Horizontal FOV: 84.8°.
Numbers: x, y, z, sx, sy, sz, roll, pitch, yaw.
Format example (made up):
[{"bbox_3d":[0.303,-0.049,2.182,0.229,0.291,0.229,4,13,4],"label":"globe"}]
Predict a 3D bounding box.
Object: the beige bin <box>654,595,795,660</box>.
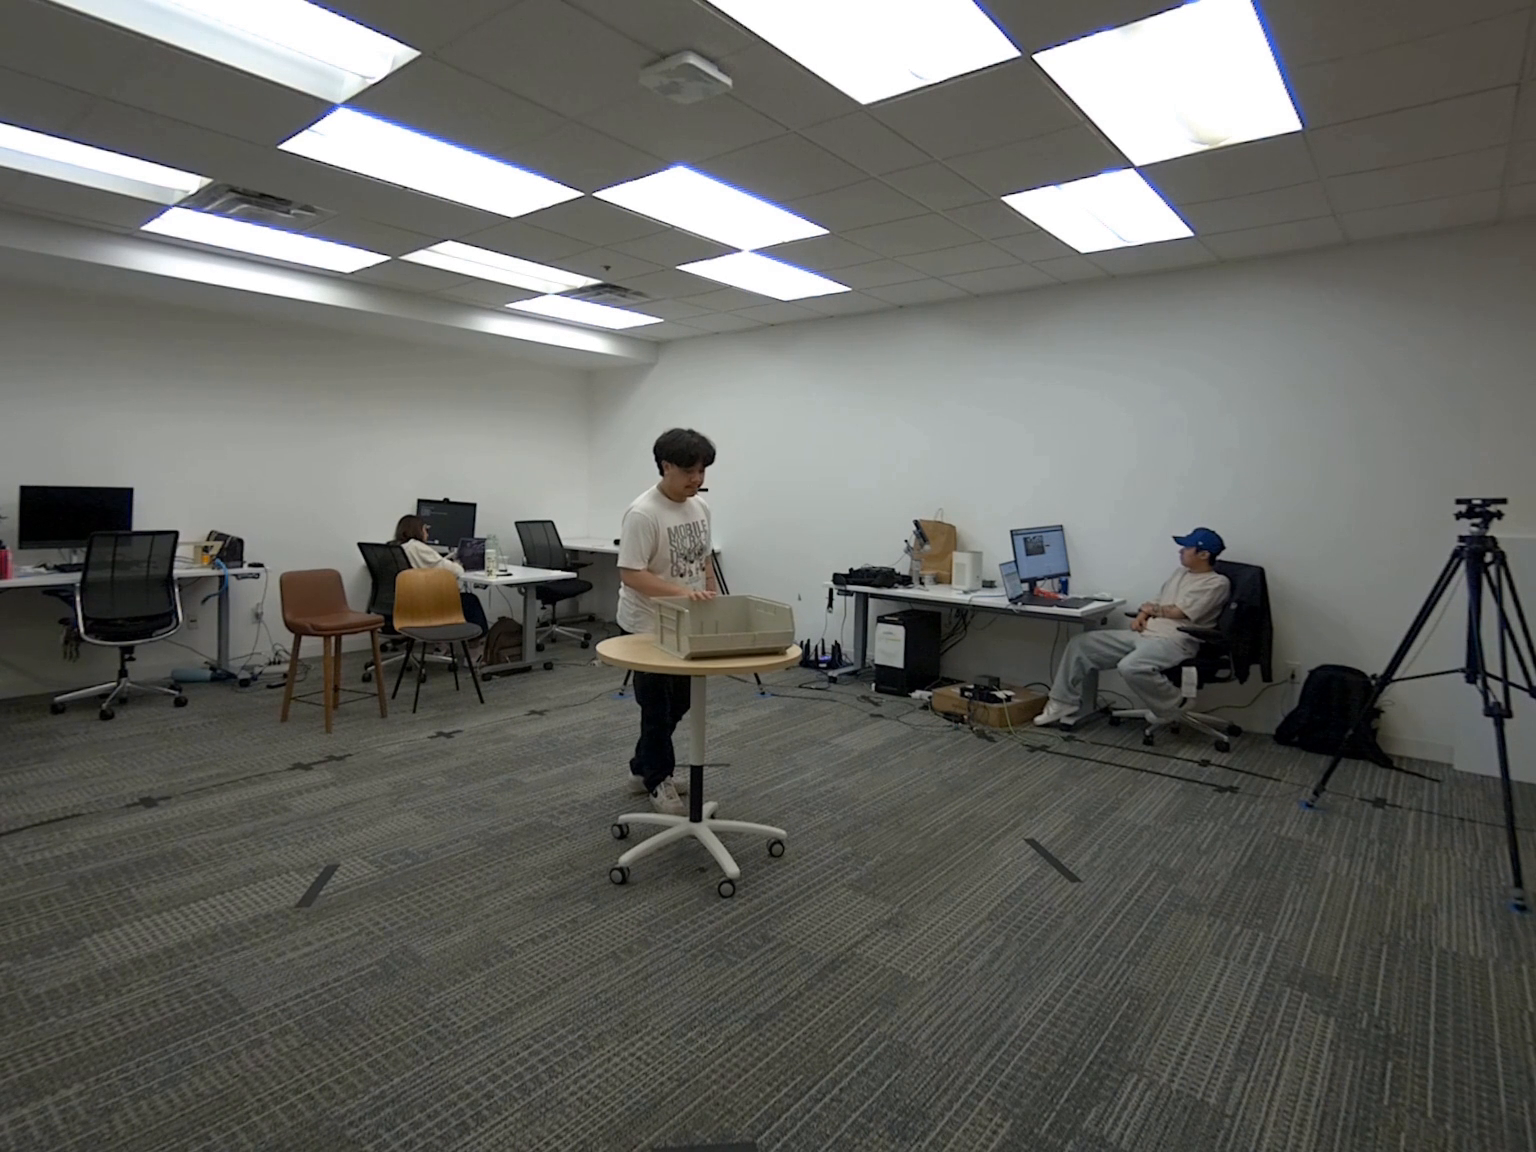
[{"bbox_3d":[-0.178,0.181,3.122,0.412,0.188,0.387,-2,4,-25],"label":"beige bin"}]
